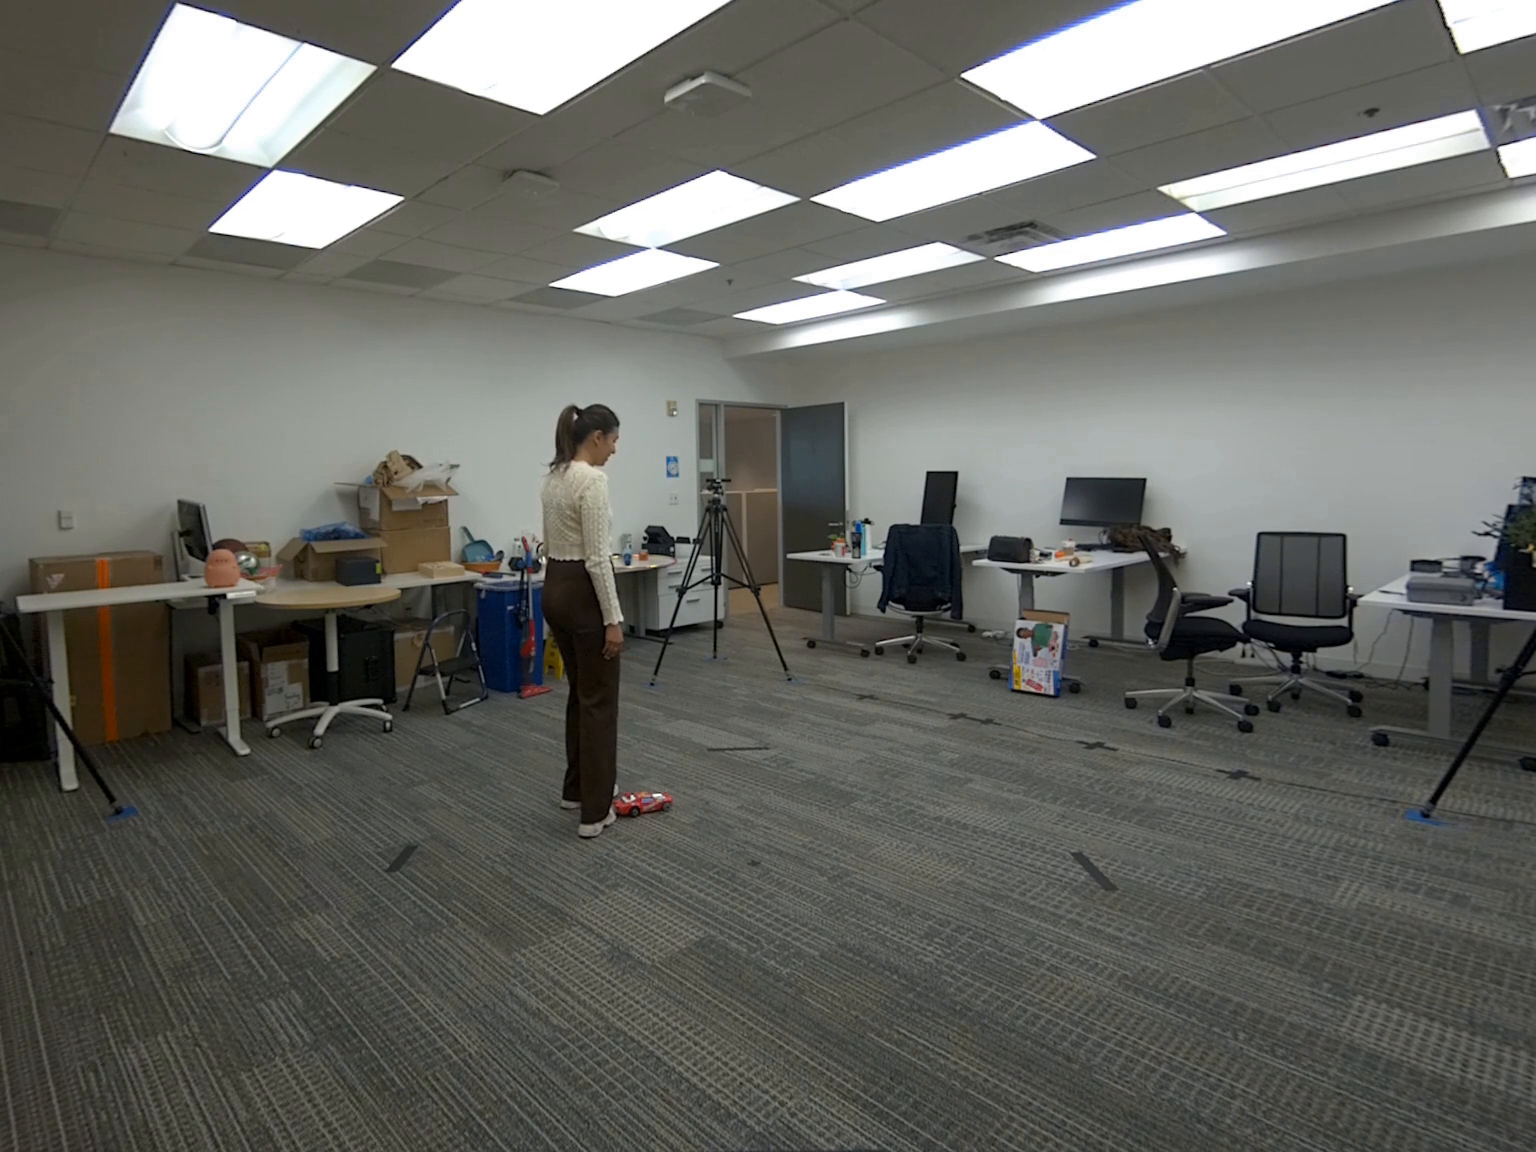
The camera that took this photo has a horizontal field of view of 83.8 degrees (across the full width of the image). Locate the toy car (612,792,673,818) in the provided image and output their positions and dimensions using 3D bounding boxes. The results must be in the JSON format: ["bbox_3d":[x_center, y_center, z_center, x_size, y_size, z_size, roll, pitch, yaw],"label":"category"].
[{"bbox_3d":[-0.540,0.965,3.617,0.248,0.083,0.133,9,-1,-23],"label":"toy car"}]
